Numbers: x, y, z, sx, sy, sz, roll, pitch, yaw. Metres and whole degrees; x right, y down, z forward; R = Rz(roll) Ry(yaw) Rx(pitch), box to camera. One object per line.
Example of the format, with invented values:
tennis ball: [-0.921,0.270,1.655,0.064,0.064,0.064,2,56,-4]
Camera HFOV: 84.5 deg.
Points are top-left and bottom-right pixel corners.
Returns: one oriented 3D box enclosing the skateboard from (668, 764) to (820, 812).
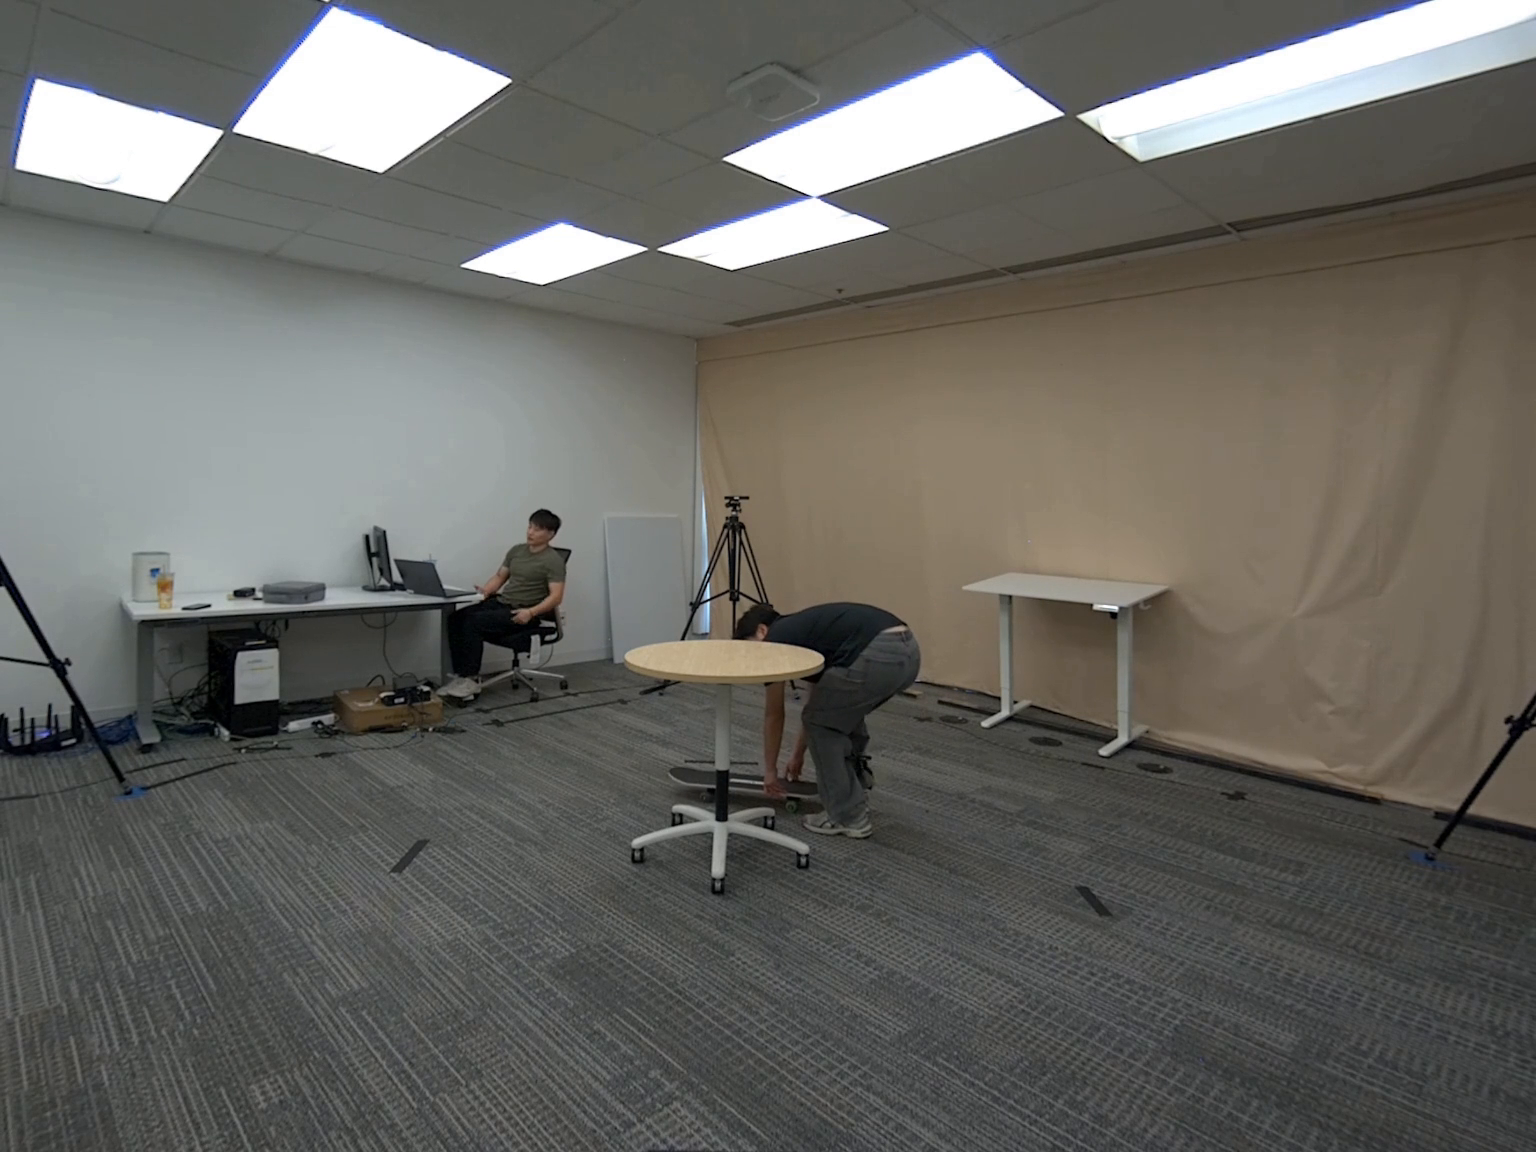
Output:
skateboard: [-0.085,0.971,3.867,0.793,0.110,0.192,3,5,11]
